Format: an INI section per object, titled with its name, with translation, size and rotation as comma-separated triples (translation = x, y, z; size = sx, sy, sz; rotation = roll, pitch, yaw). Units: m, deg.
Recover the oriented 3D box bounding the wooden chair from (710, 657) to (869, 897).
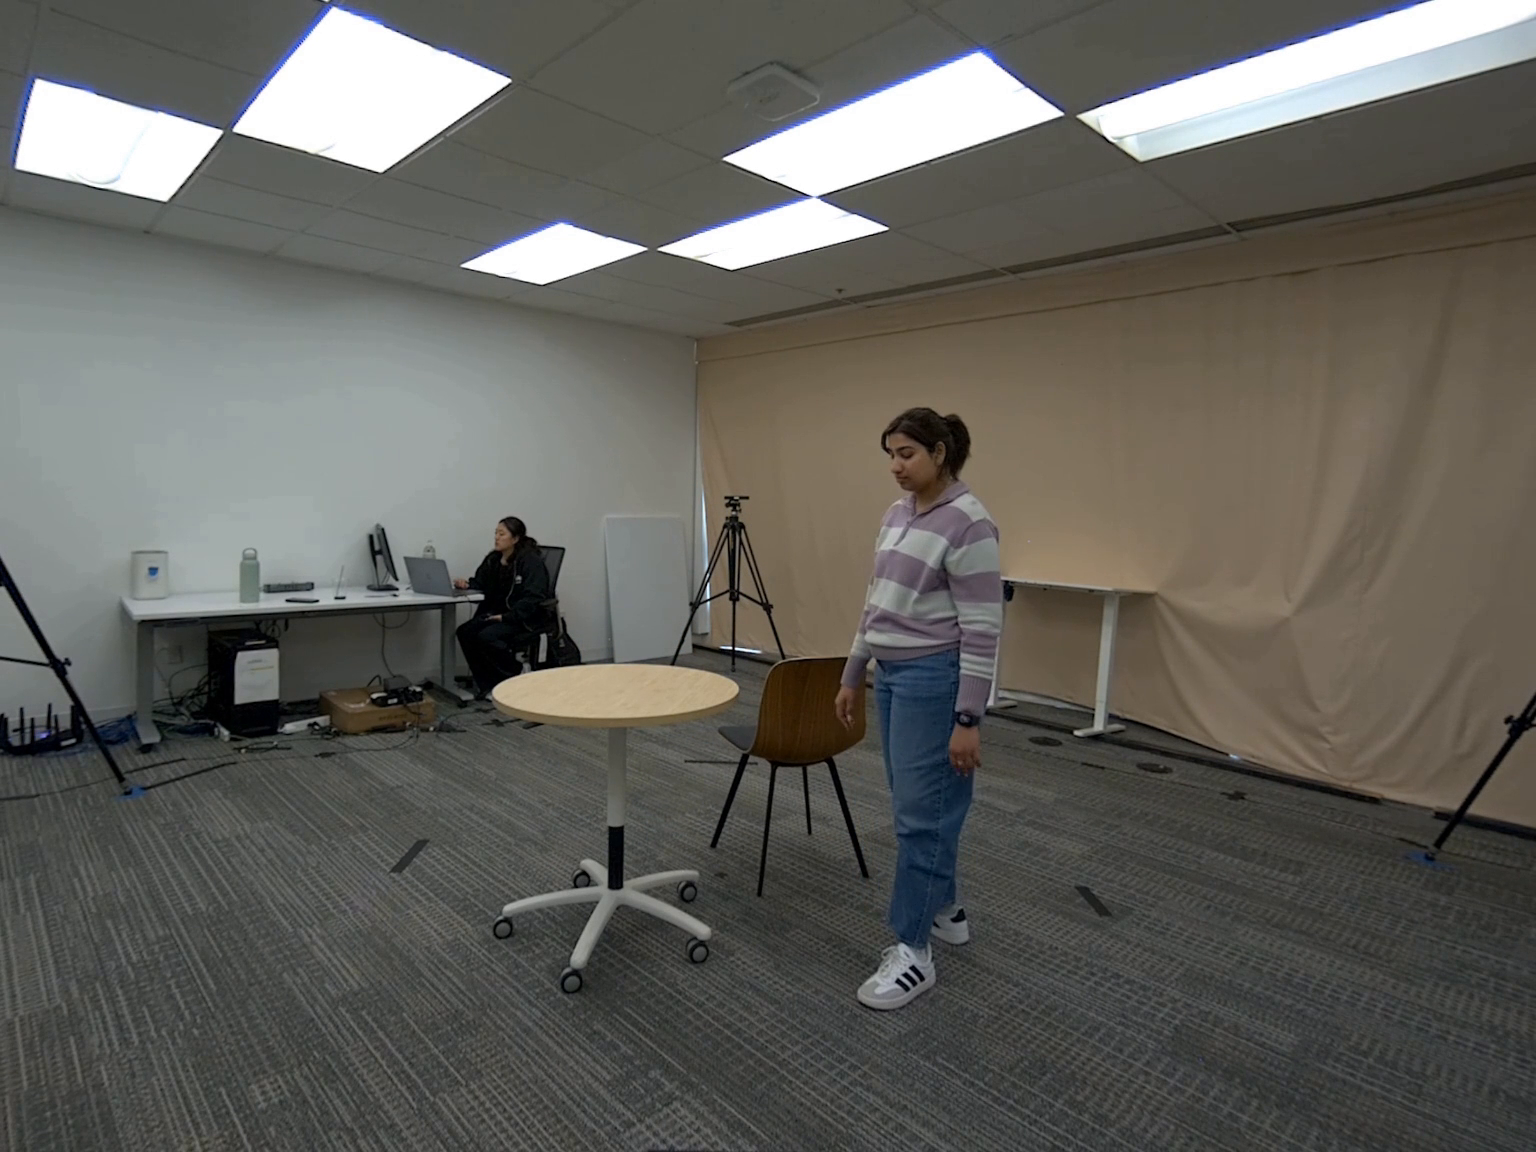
[wooden chair]
translation = 0.072, 0.672, 3.206
size = 0.470, 0.873, 0.535
rotation = 0, 8, -25
